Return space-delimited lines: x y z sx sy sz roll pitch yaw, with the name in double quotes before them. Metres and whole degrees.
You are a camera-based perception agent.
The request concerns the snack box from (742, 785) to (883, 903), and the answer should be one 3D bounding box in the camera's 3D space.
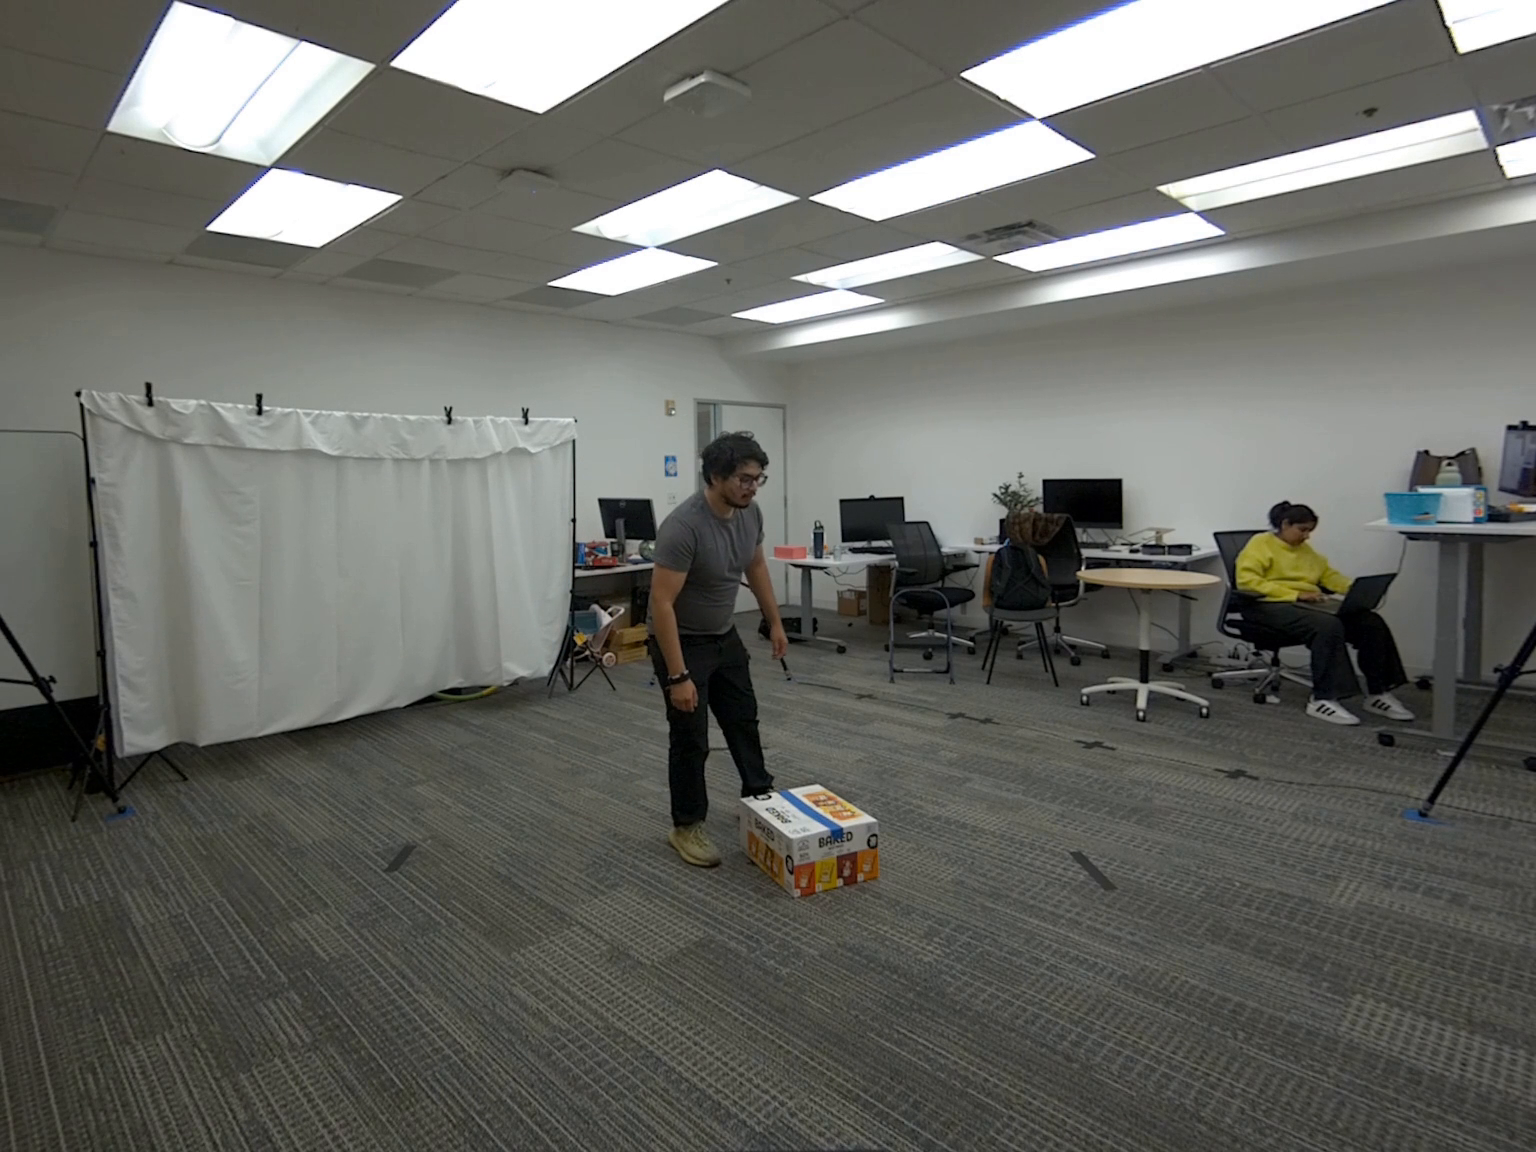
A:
"snack box" 0.148 0.944 3.076 0.333 0.205 0.416 -4 6 -26
